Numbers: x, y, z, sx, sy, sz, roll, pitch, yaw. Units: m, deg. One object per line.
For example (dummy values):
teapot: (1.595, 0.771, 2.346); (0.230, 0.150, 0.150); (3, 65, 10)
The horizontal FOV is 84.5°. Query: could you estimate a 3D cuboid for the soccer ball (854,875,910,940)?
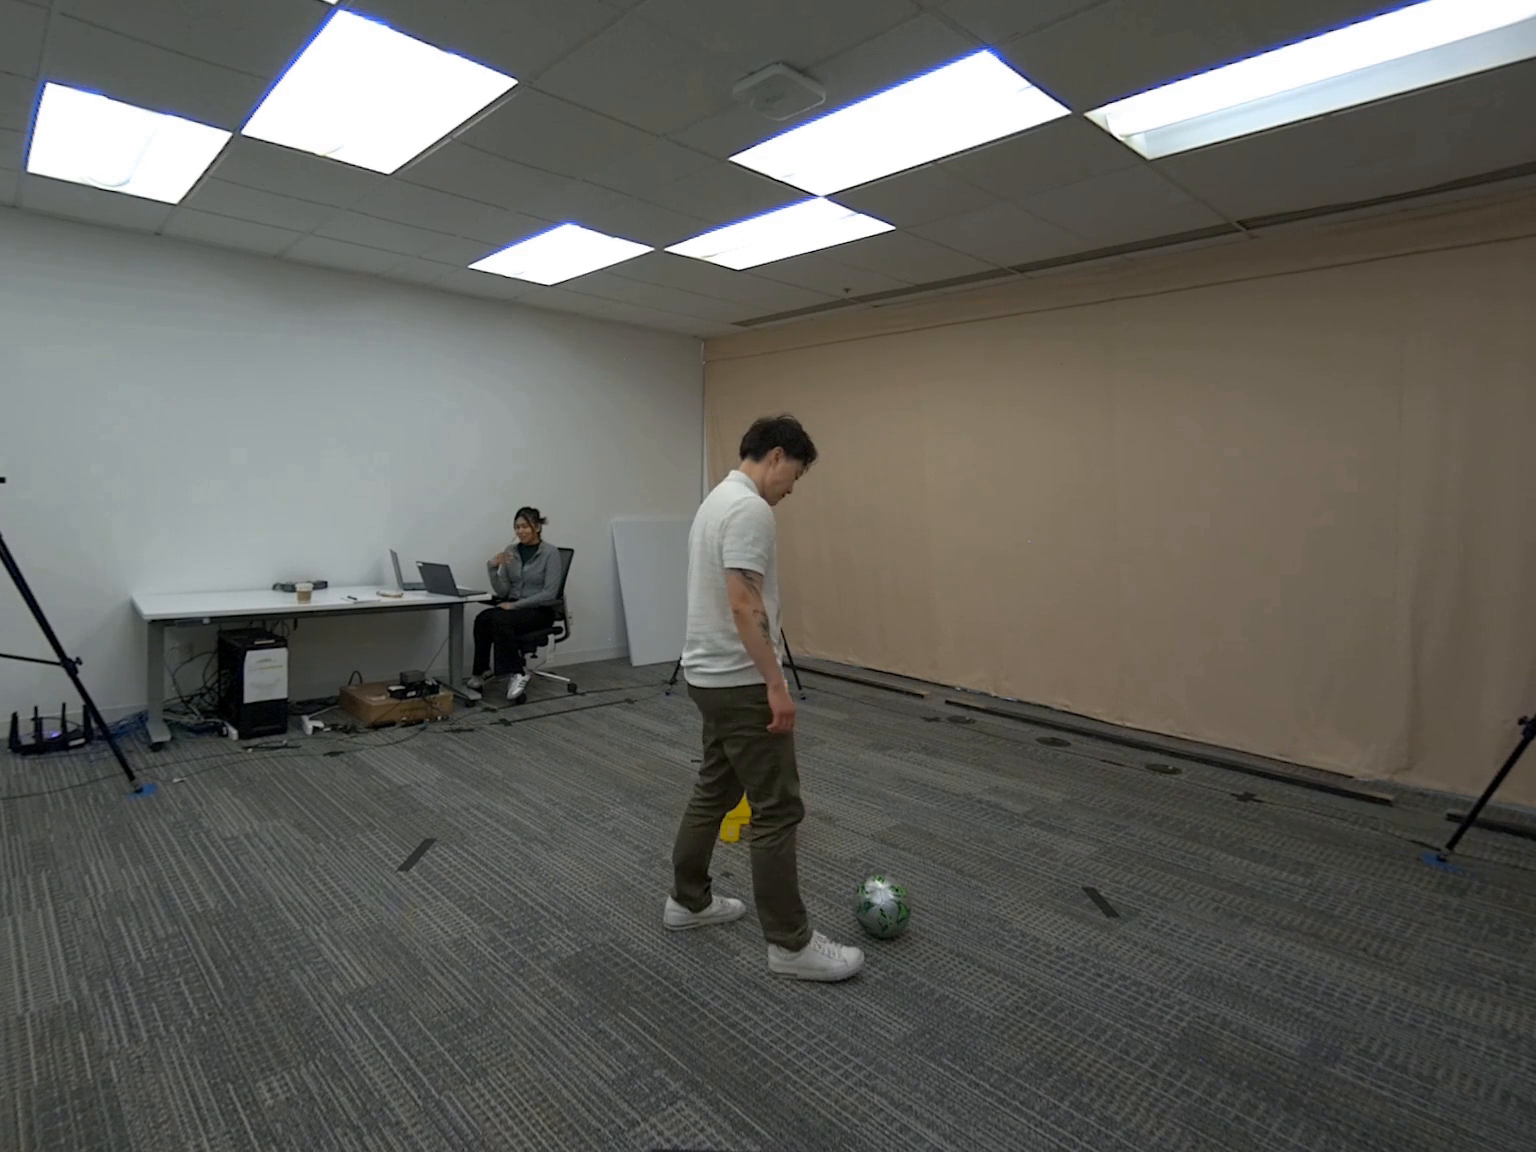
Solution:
soccer ball: (0.360, 1.057, 2.700); (0.187, 0.187, 0.188); (1, 4, -1)
